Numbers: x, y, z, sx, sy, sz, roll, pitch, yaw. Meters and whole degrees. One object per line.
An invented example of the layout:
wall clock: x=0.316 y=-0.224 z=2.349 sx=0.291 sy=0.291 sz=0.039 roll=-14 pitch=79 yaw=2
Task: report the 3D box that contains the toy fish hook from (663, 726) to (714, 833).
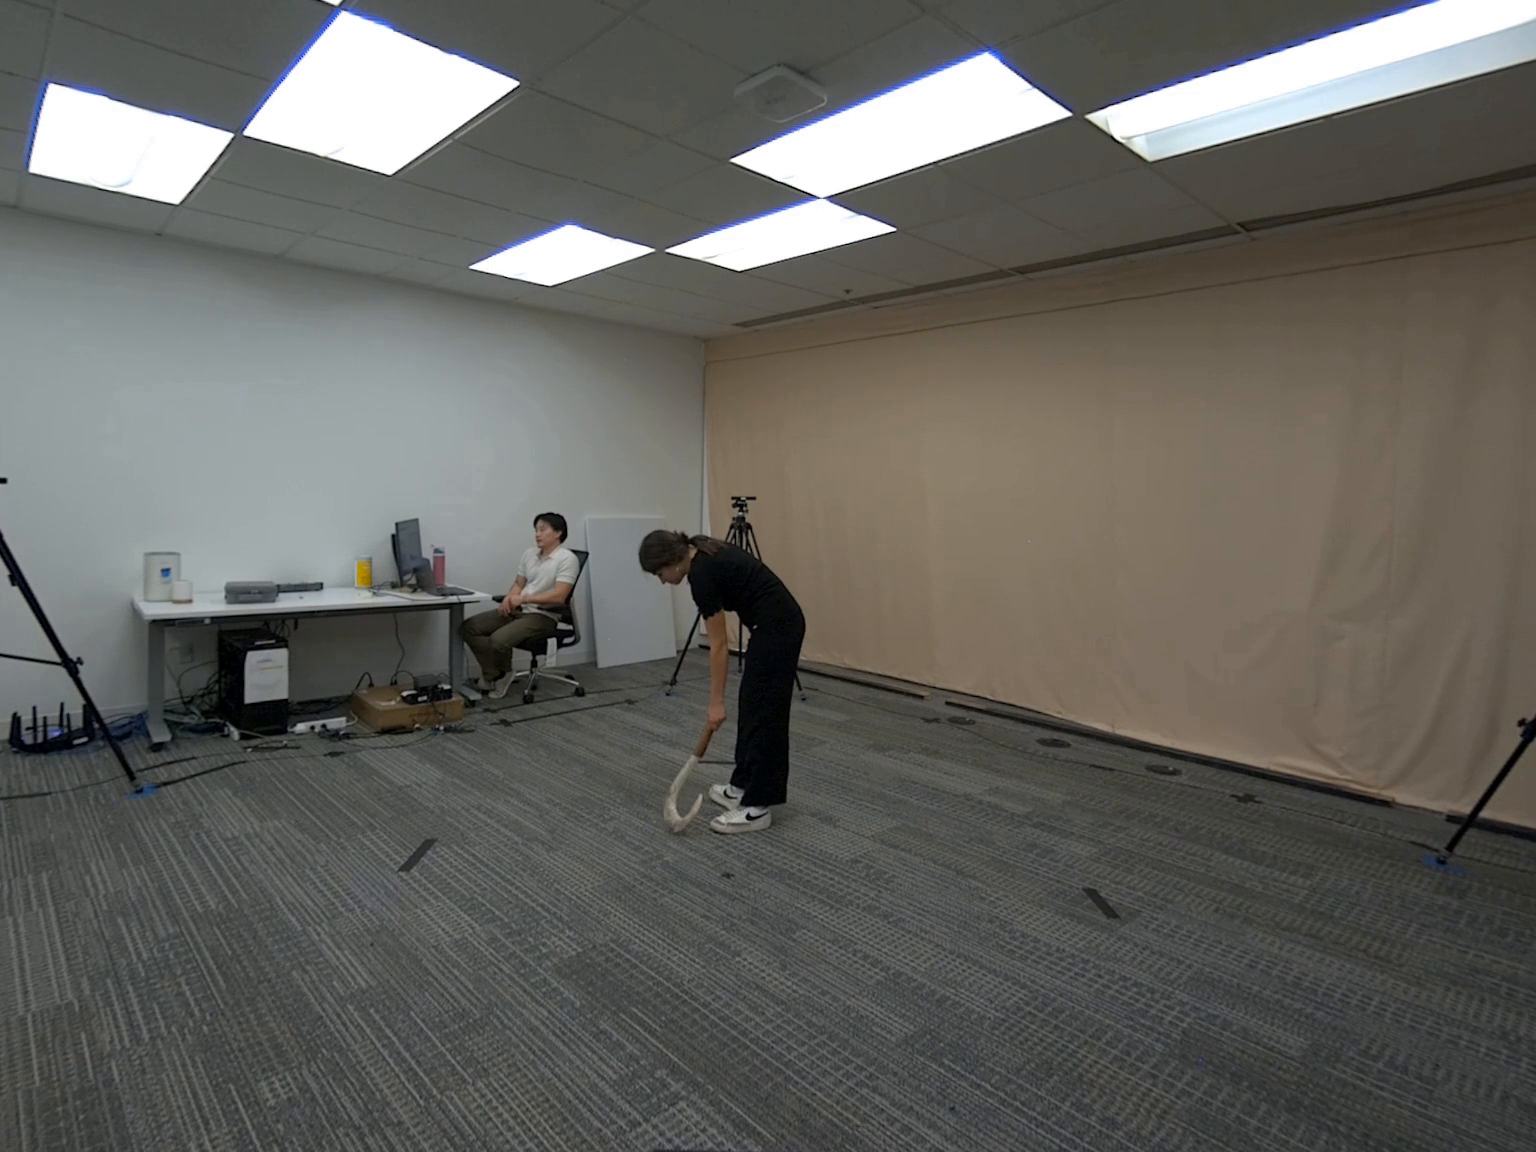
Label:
toy fish hook: x=-0.310 y=0.819 z=3.498 sx=0.047 sy=0.506 sz=0.231 roll=24 pitch=1 yaw=-39
